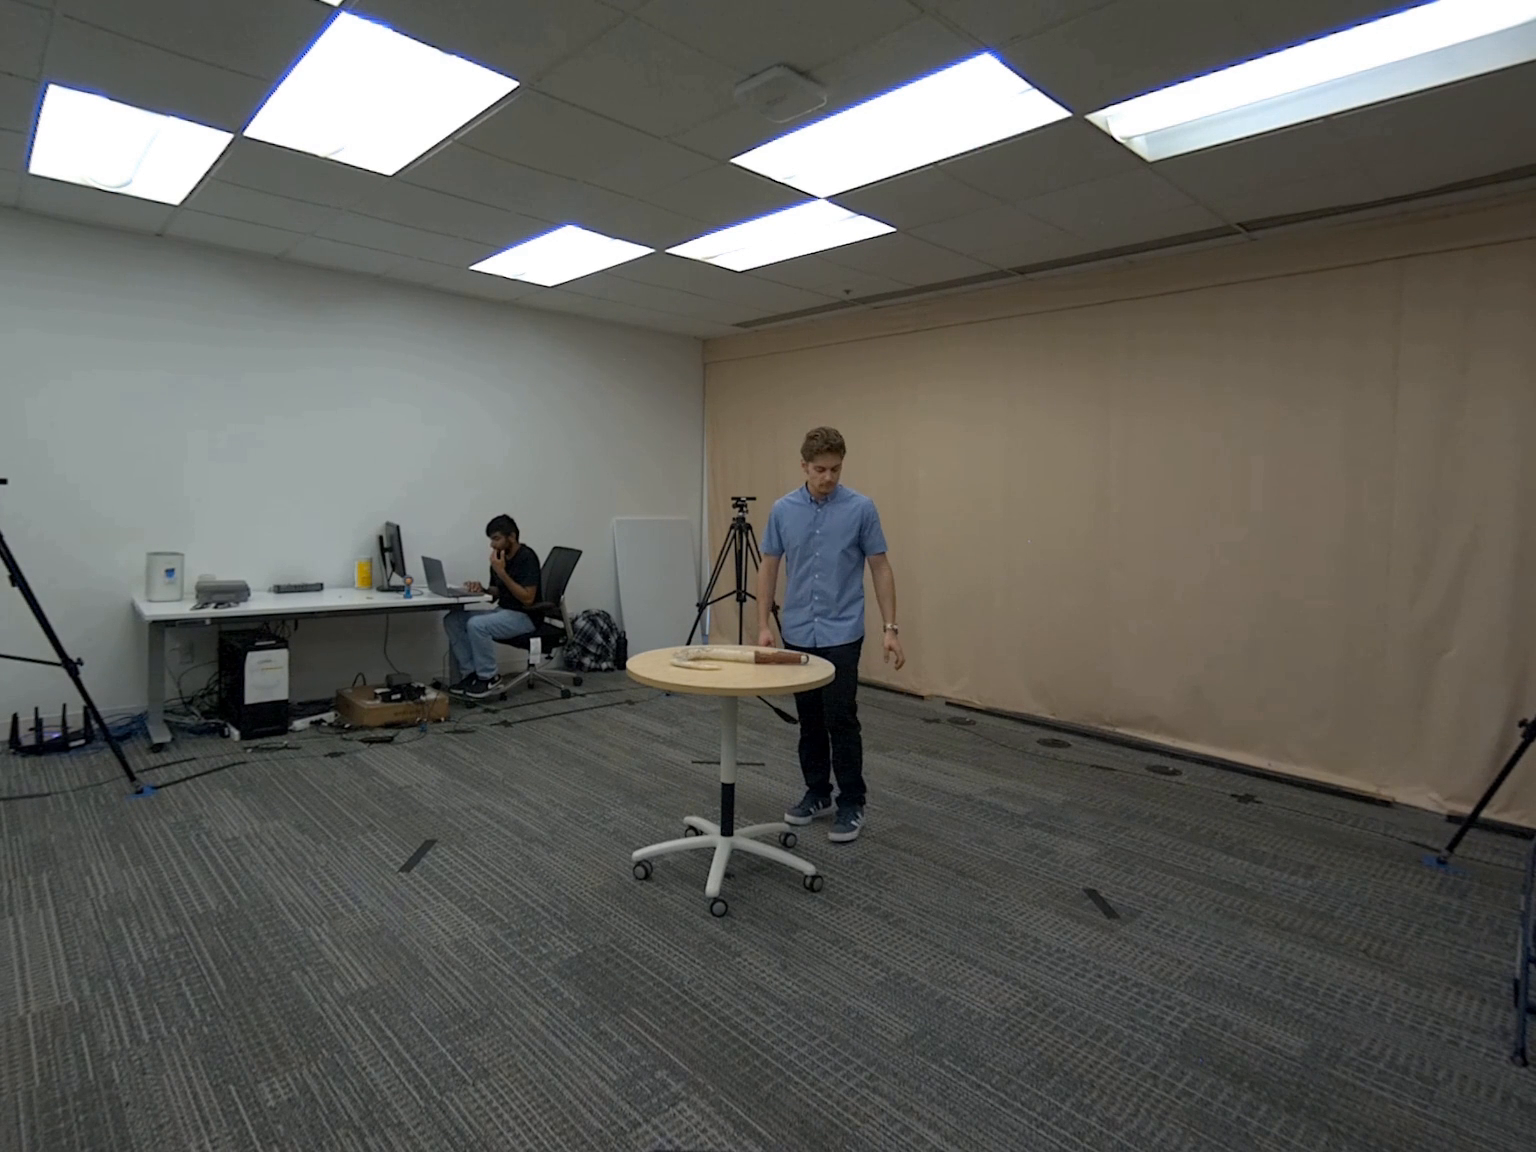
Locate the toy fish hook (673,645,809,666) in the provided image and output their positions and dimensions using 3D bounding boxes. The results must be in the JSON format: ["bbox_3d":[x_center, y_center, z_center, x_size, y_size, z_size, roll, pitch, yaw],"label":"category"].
[{"bbox_3d":[-0.105,0.315,3.074,0.508,0.048,0.226,1,14,4],"label":"toy fish hook"}]
